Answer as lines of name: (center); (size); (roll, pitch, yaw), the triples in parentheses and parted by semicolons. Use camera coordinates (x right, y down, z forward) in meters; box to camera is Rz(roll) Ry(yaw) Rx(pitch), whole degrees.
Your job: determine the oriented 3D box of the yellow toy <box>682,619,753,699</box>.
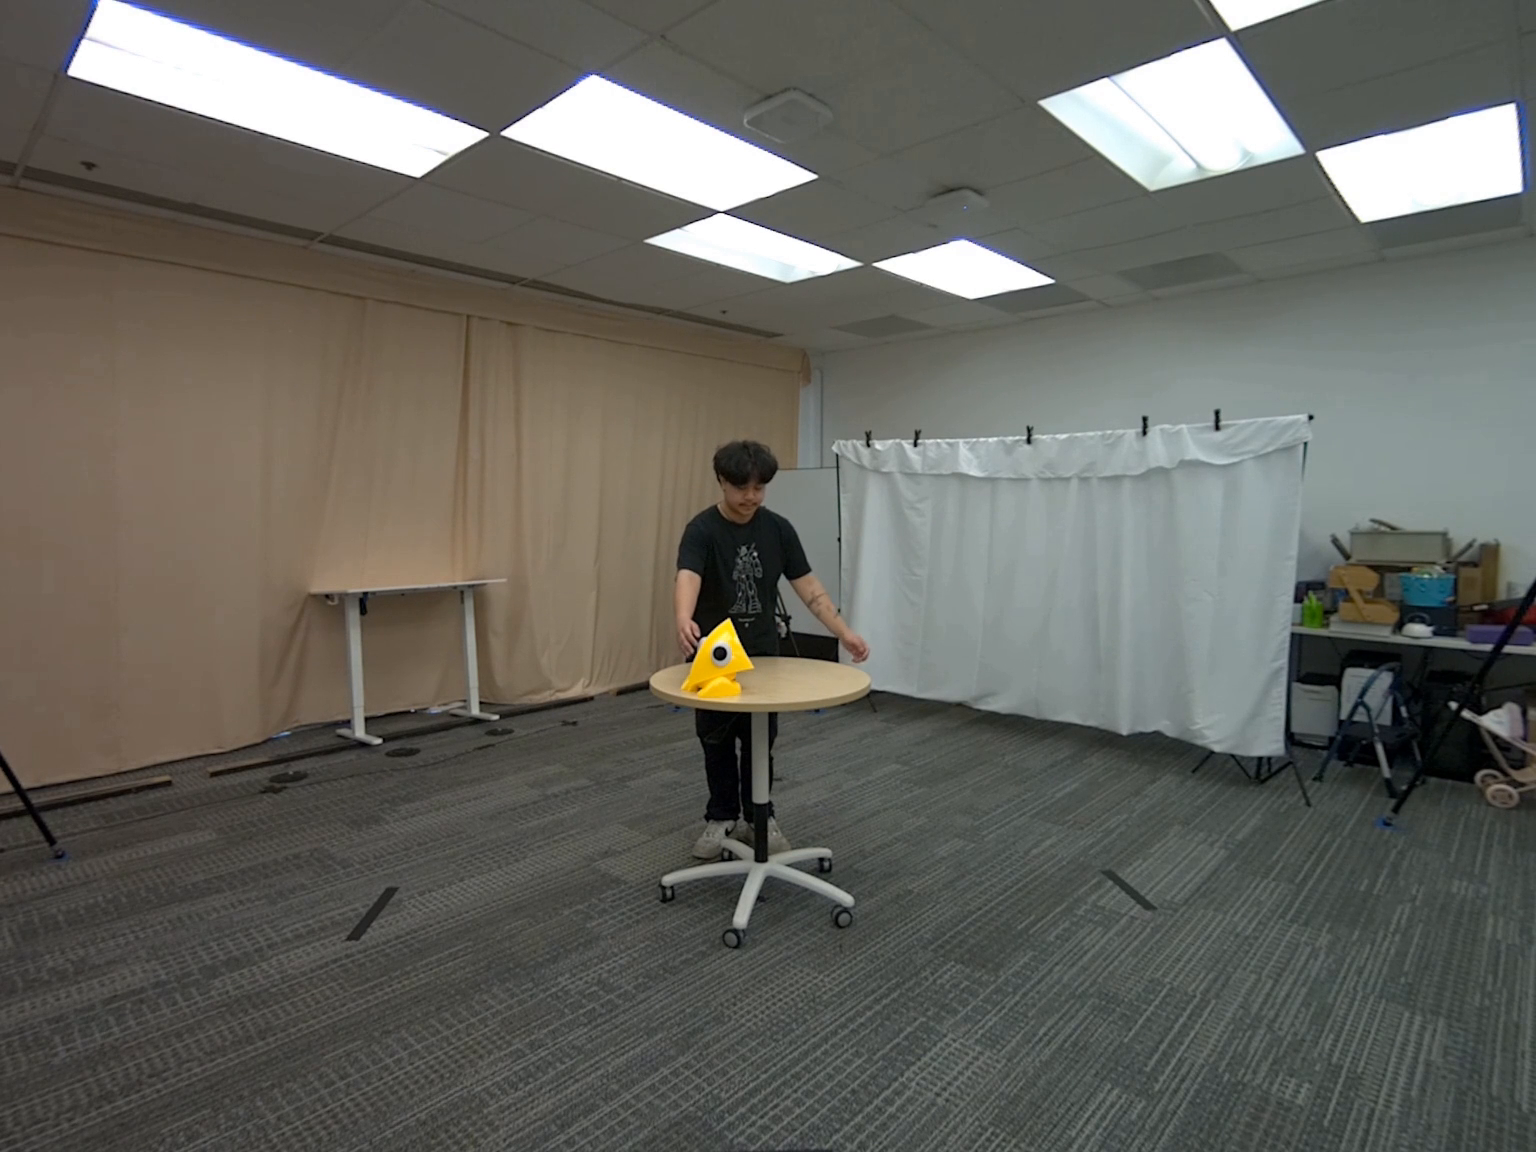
yellow toy: (-0.172, 0.258, 2.748); (0.188, 0.230, 0.211); (-3, 4, -31)
